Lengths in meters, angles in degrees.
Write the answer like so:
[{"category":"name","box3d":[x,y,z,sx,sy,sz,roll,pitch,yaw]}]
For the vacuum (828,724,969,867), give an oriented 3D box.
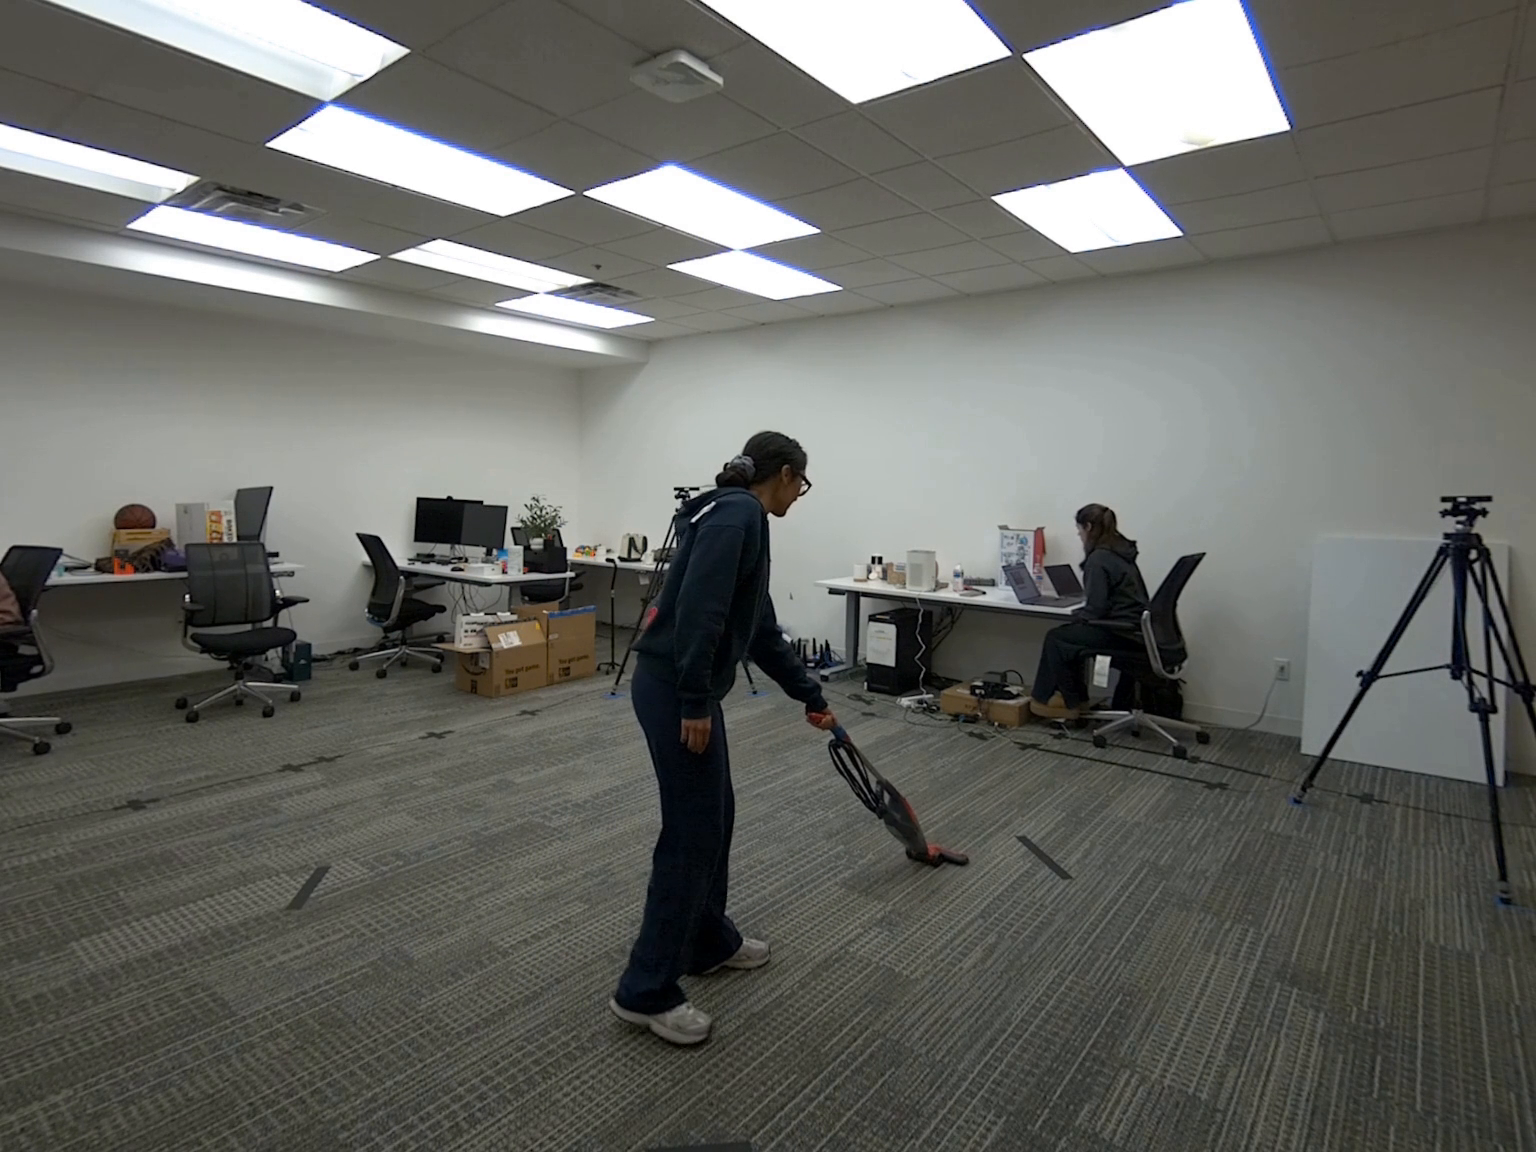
[{"category":"vacuum","box3d":[0.360,0.746,2.930,0.261,0.145,1.007,3,-35,39]}]
